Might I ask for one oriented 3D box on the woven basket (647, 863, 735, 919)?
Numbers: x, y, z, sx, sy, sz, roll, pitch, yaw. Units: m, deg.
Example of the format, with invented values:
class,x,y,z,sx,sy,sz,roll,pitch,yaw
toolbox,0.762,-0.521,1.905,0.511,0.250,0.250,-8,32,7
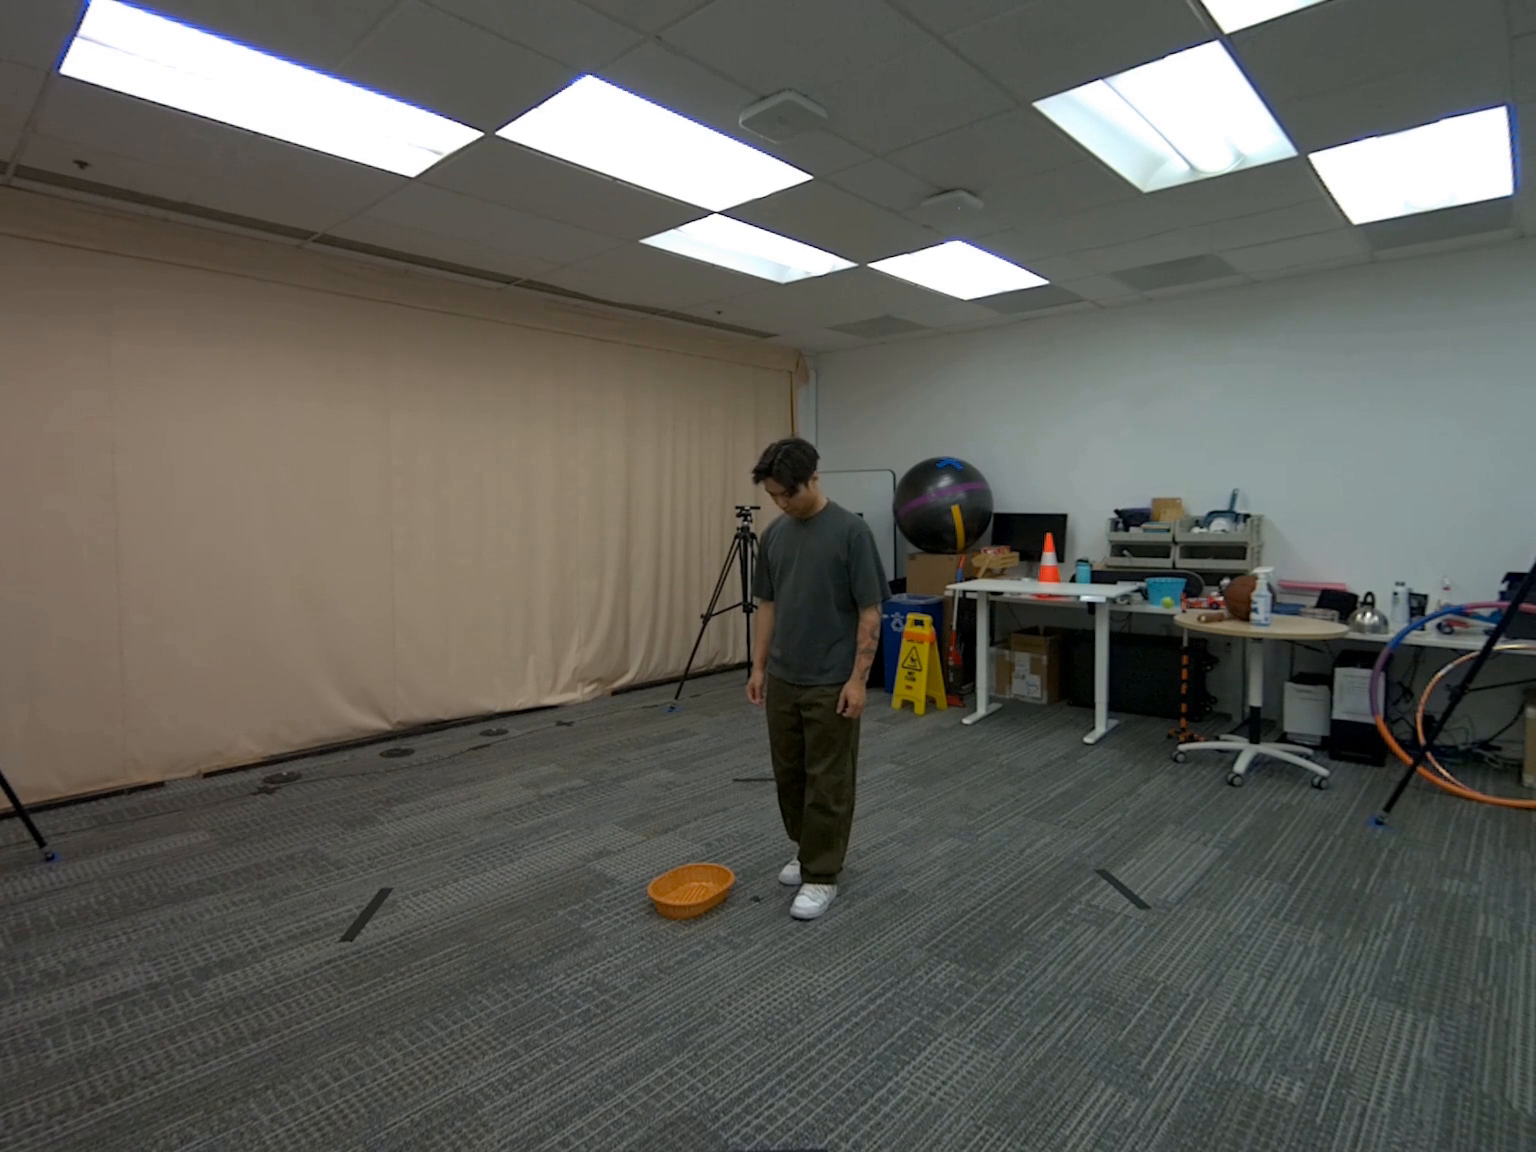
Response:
class,x,y,z,sx,sy,sz,roll,pitch,yaw
woven basket,-0.268,1.111,2.967,0.260,0.073,0.340,3,6,38
